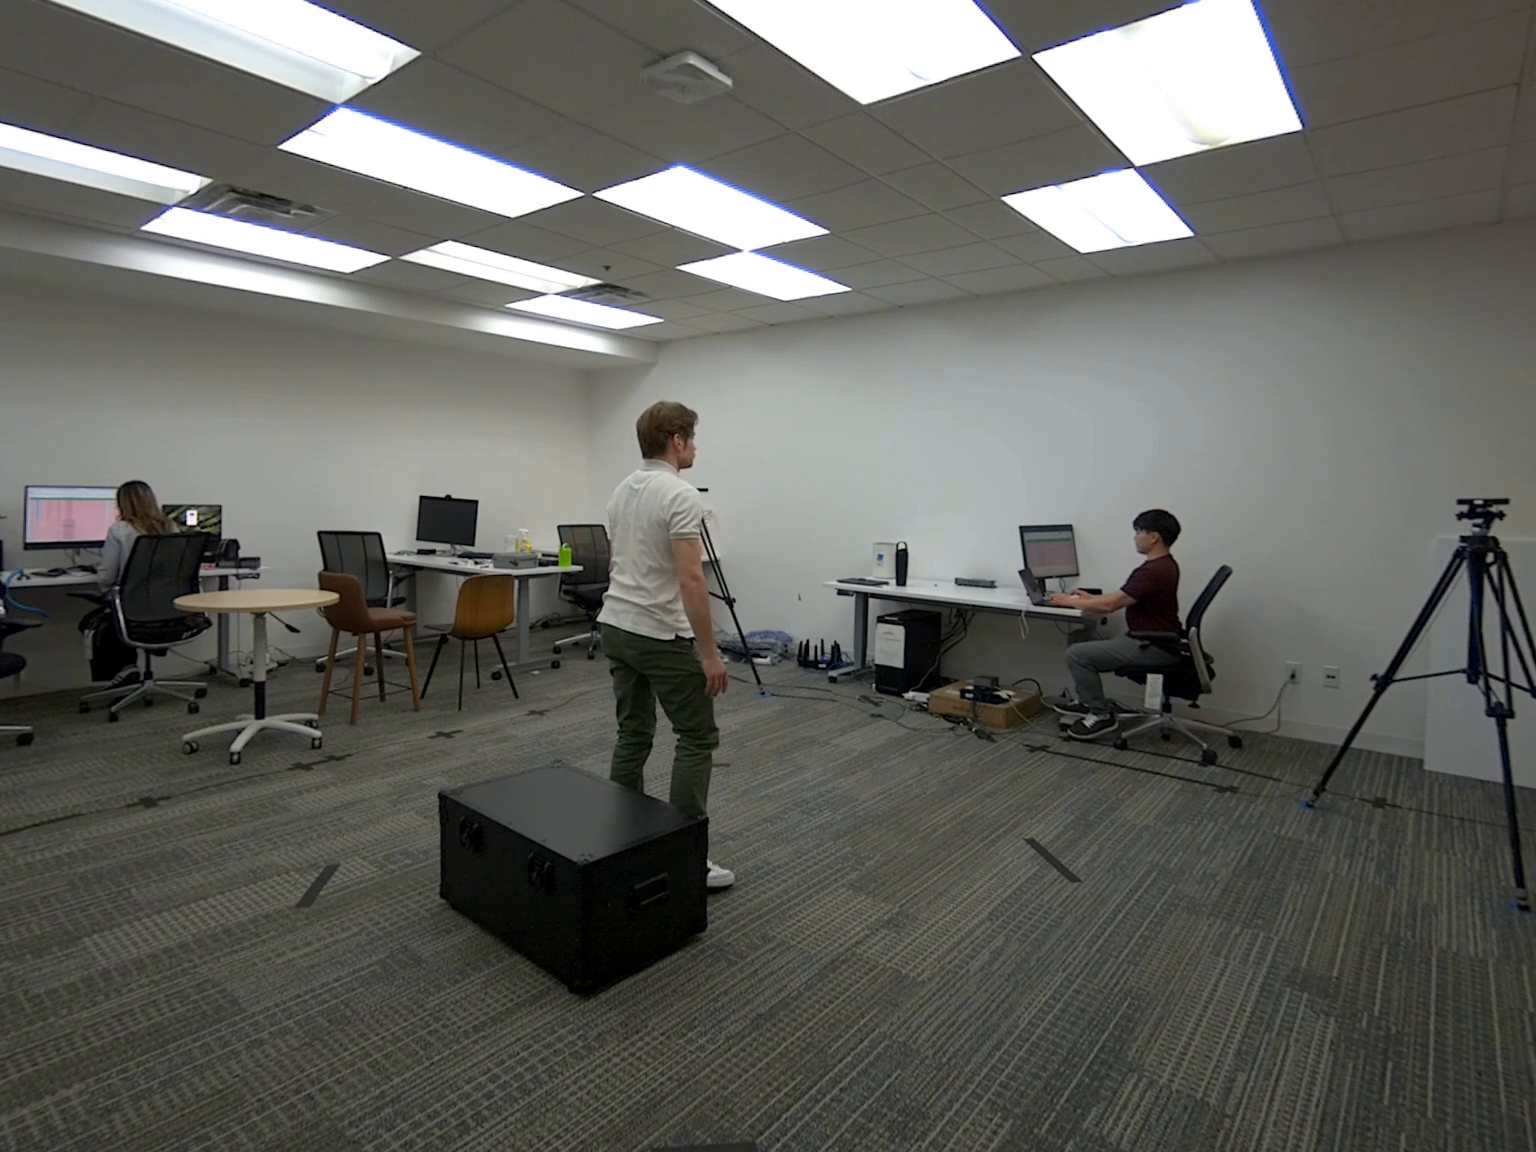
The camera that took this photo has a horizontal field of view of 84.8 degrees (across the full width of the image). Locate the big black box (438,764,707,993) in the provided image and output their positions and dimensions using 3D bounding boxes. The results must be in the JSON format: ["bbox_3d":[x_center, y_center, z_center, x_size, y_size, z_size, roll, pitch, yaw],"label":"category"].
[{"bbox_3d":[-0.670,0.903,2.742,0.898,0.383,0.508,5,8,42],"label":"big black box"}]
